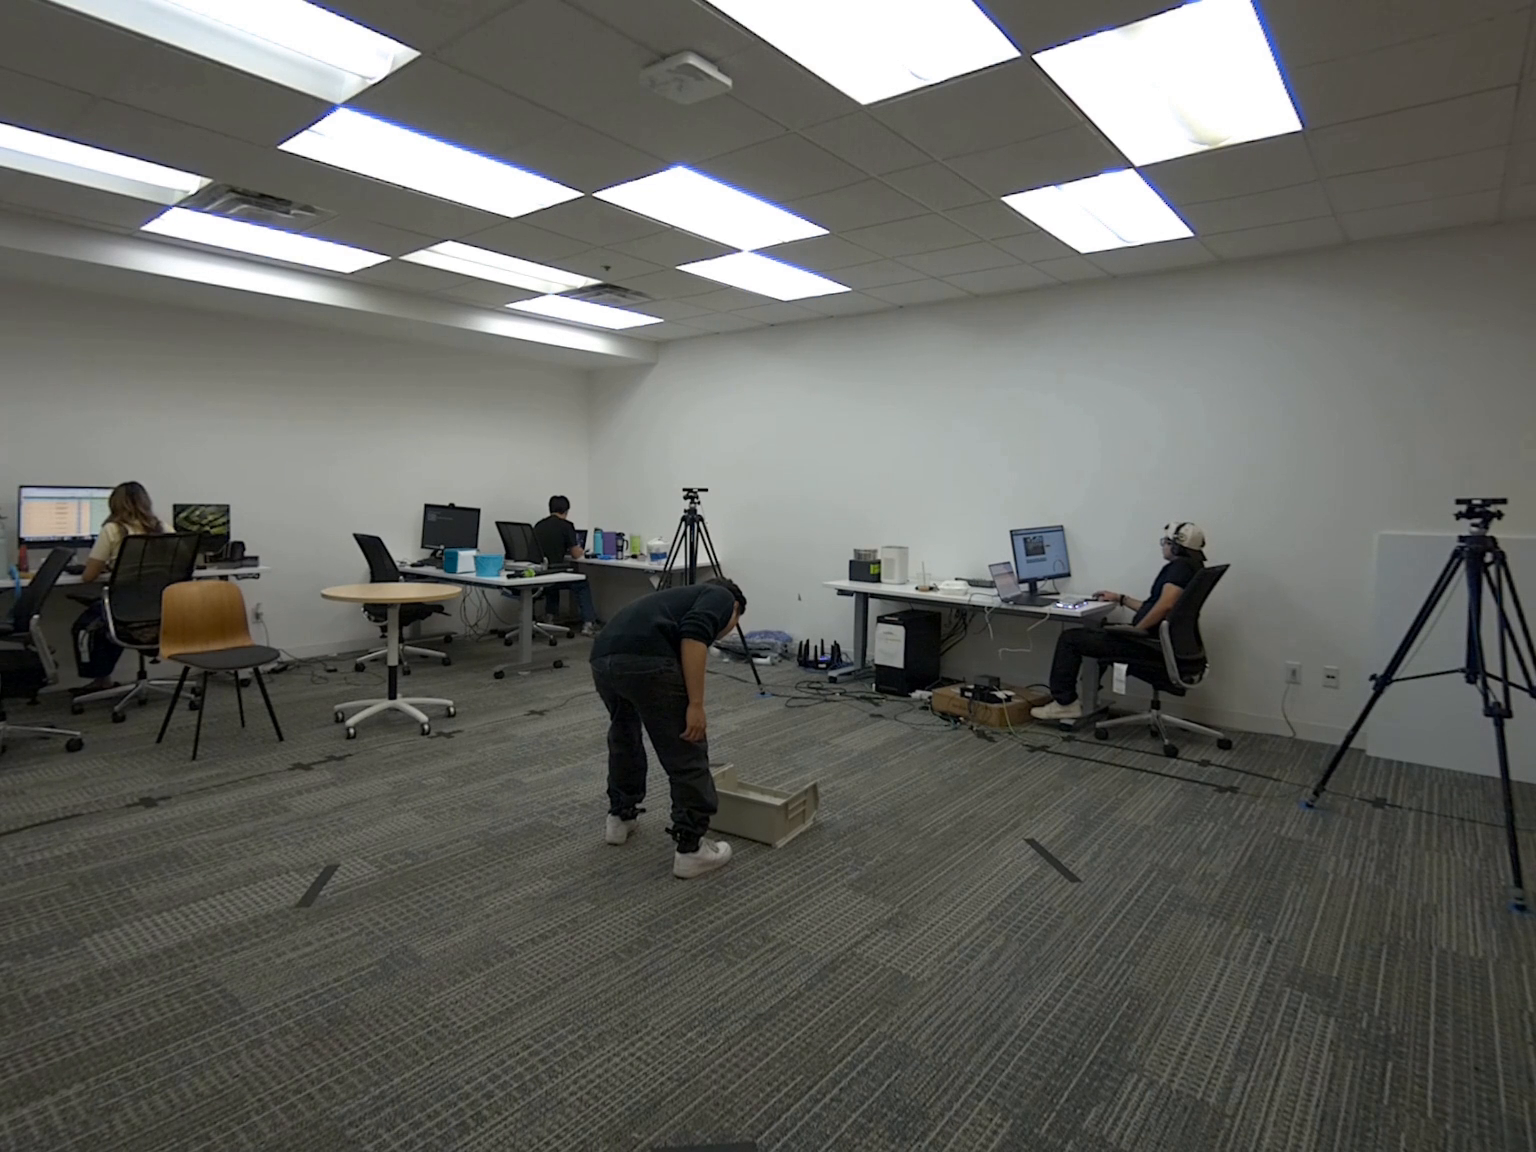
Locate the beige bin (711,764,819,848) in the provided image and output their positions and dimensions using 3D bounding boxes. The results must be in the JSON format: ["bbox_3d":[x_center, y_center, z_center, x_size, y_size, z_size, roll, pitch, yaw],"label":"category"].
[{"bbox_3d":[-0.058,0.942,3.555,0.435,0.188,0.368,4,7,30],"label":"beige bin"}]
